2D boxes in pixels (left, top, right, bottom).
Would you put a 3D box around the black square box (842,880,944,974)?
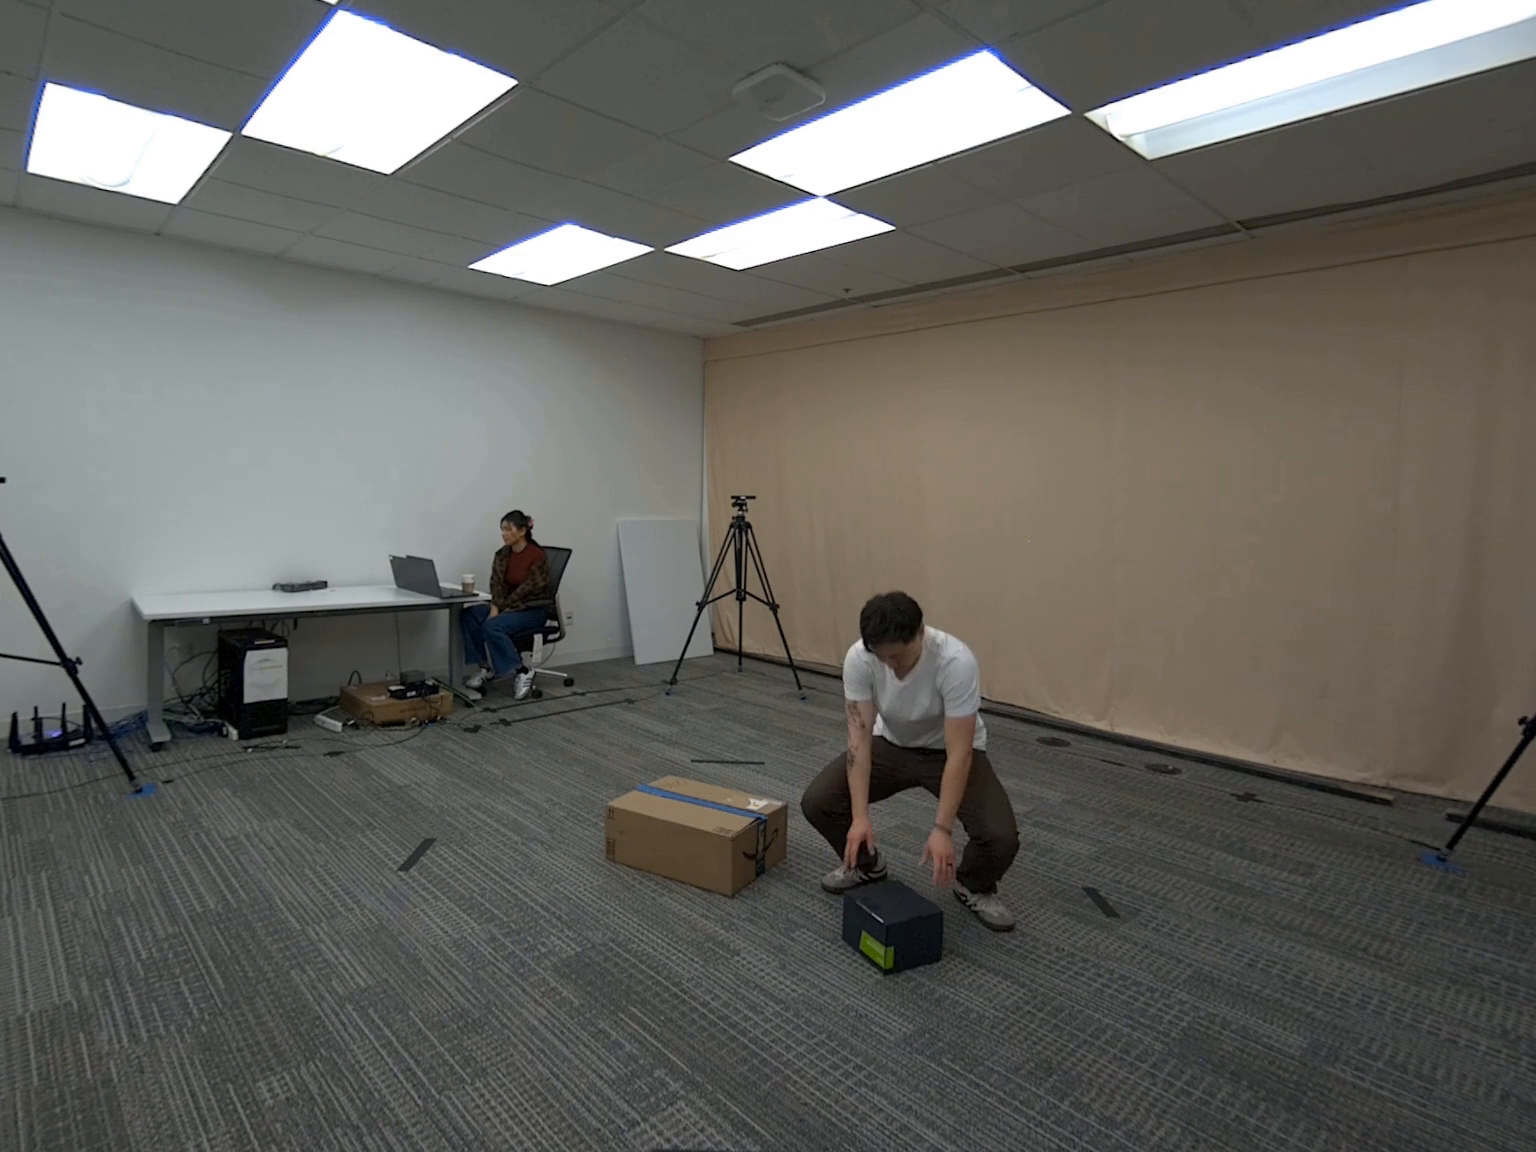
[{"bbox_3d":[0.374,1.076,2.598,0.213,0.155,0.233,-1,6,-28],"label":"black square box"}]
